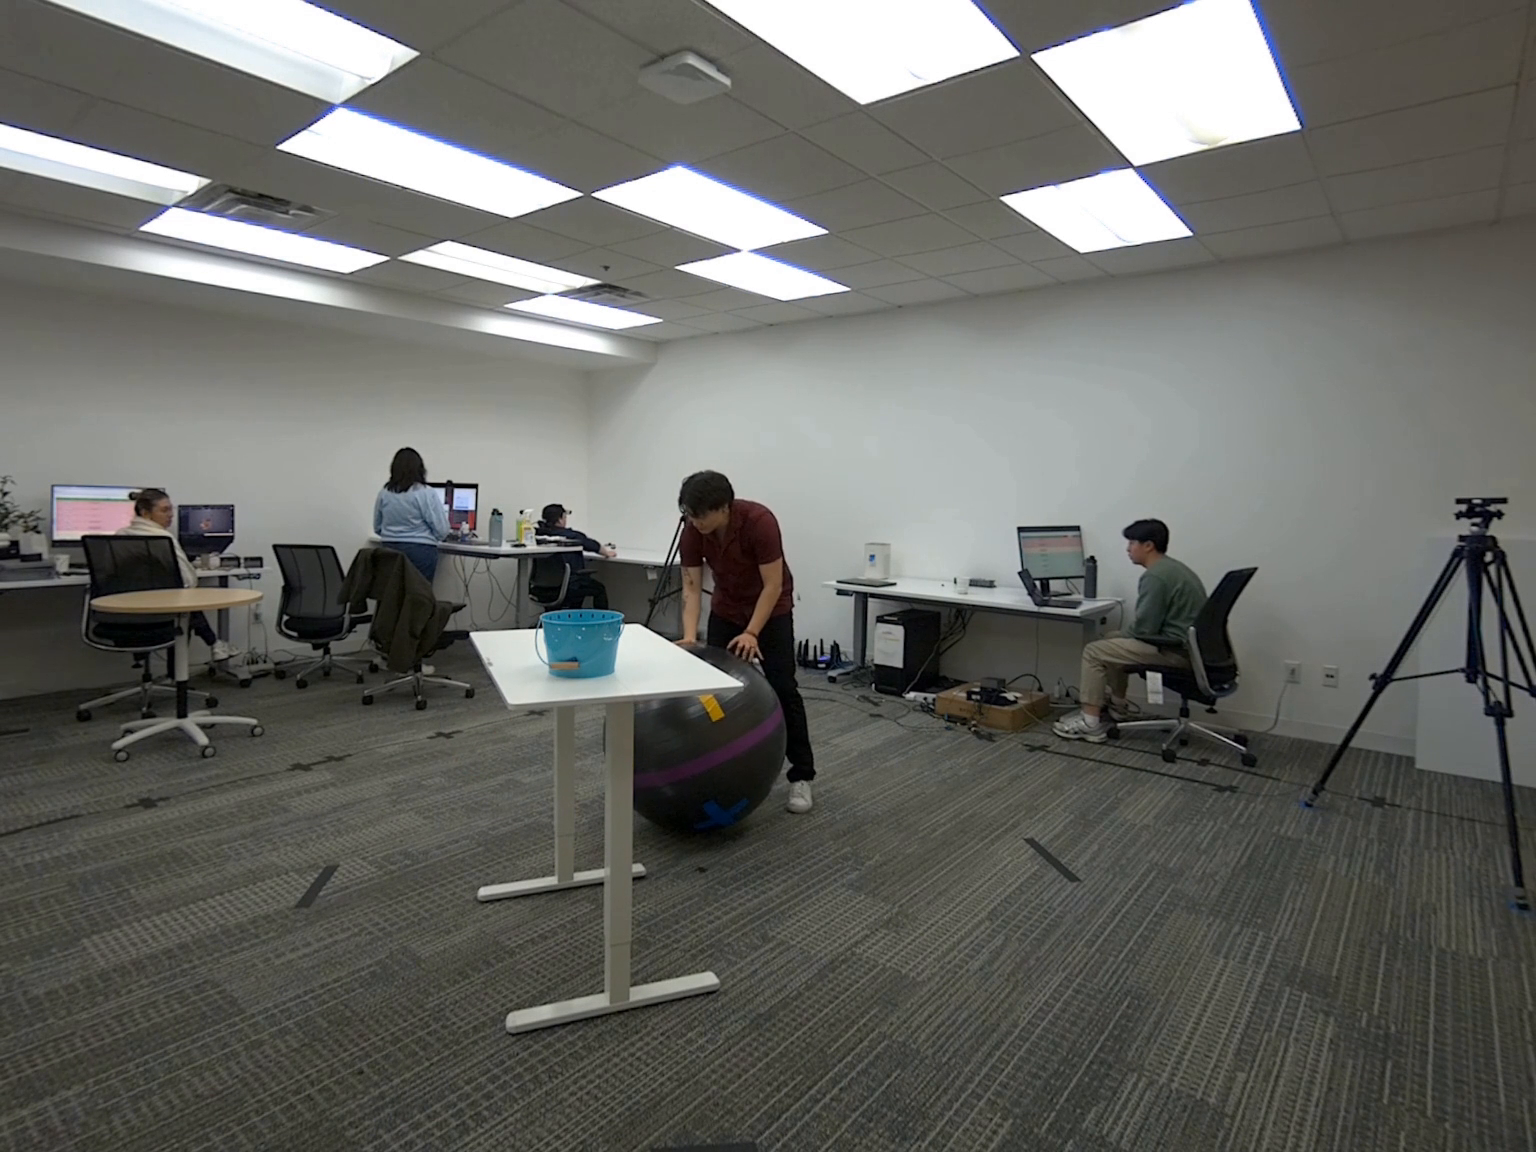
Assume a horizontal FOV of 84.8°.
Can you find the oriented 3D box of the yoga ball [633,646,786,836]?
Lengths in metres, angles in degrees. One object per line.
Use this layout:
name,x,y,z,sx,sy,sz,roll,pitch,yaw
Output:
yoga ball,-0.318,0.666,3.523,0.757,0.756,0.762,1,4,-2
